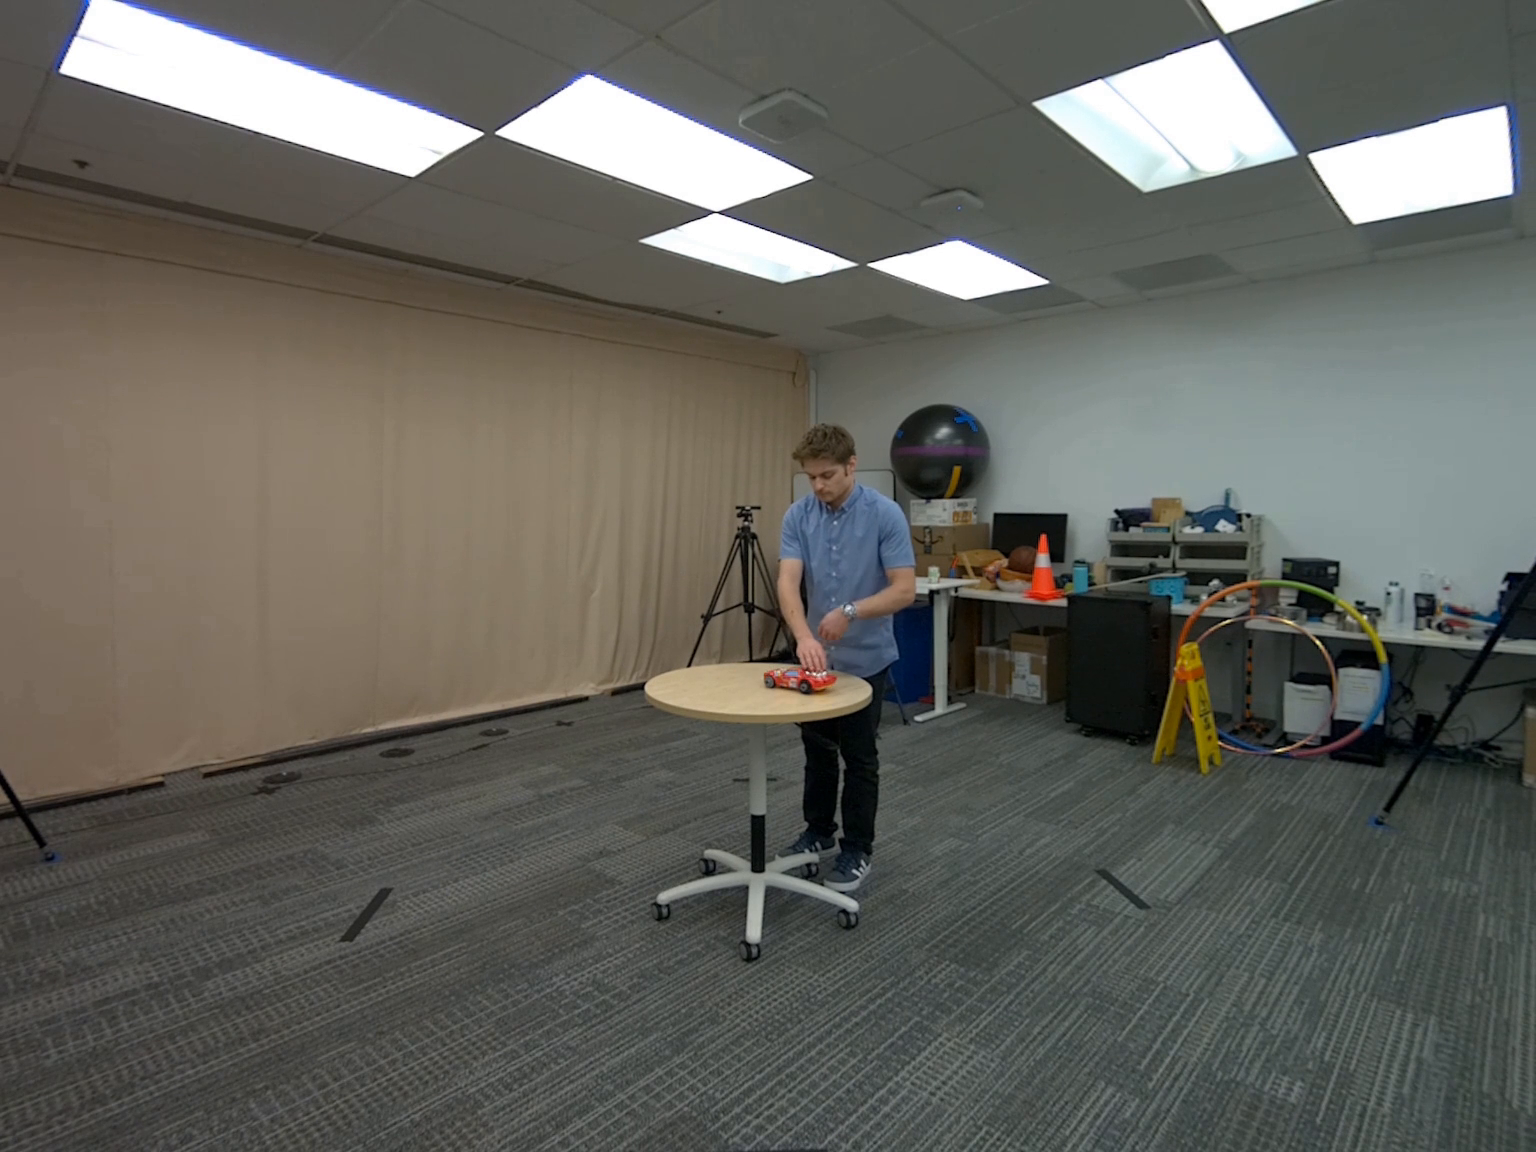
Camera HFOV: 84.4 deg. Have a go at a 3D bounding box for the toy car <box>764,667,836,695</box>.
[{"bbox_3d":[0.113,0.350,2.789,0.262,0.083,0.126,-9,-3,40],"label":"toy car"}]
